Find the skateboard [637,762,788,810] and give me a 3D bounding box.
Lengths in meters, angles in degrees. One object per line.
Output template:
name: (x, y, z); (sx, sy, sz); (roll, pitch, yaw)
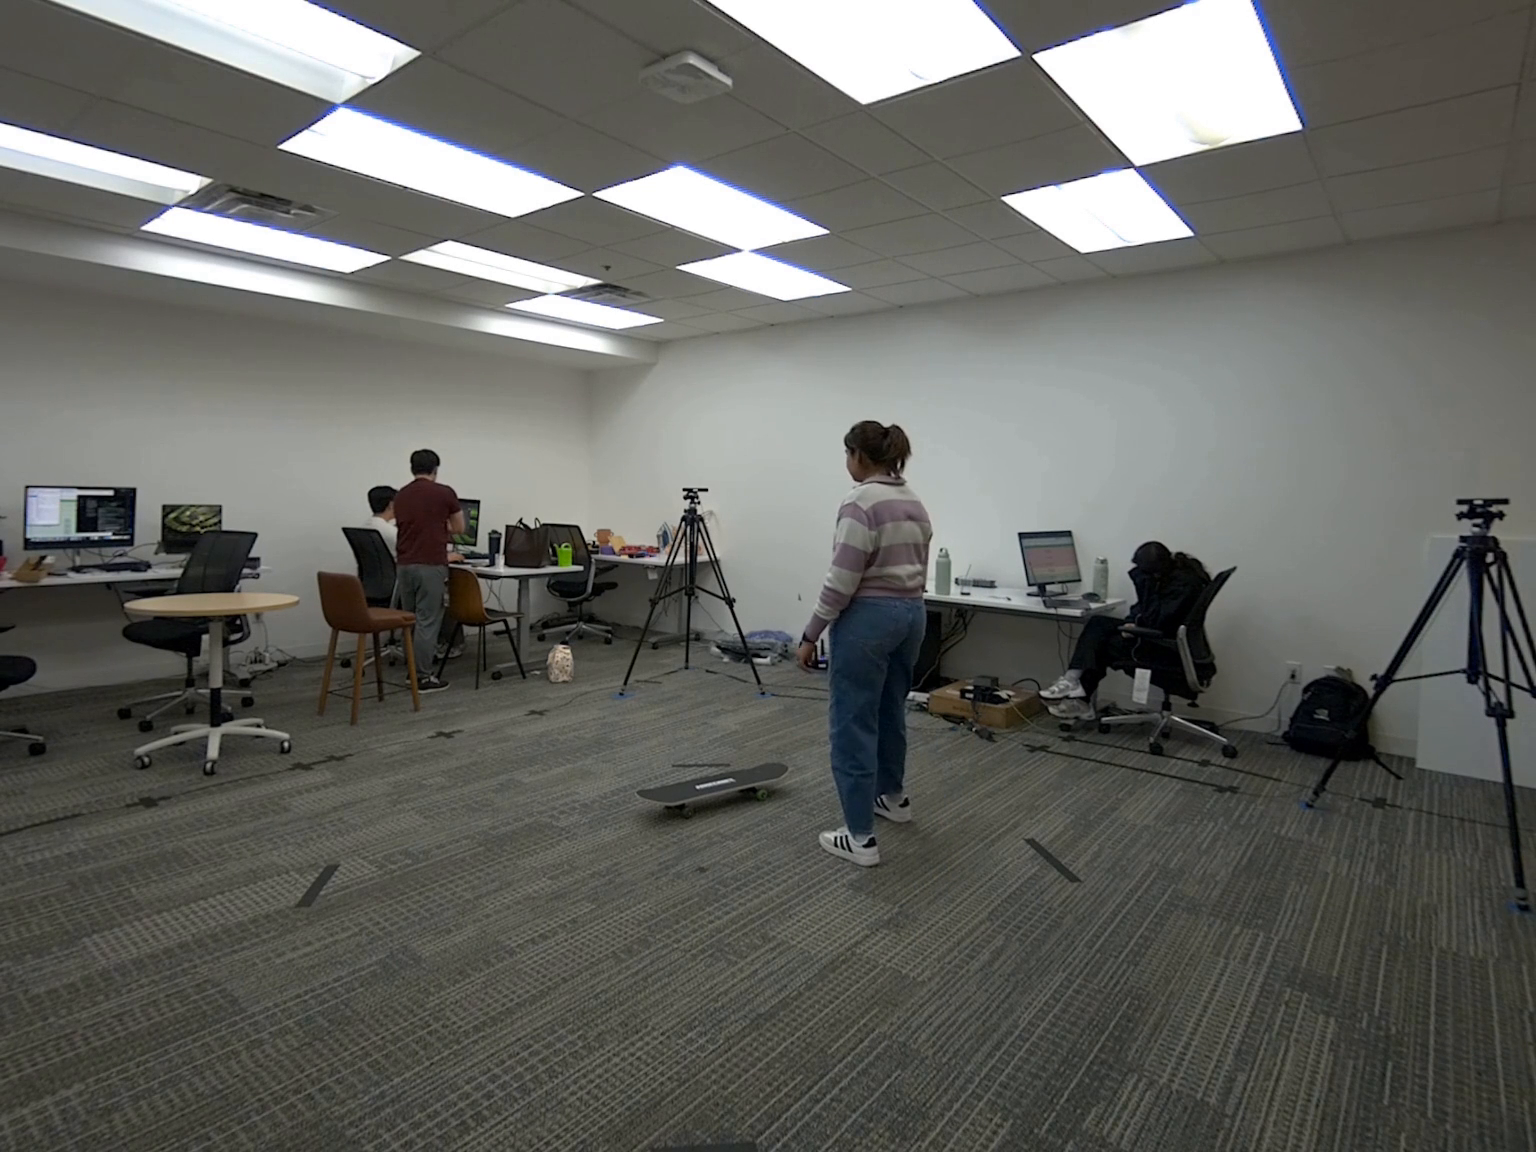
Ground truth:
skateboard: (-0.242, 0.945, 3.765); (0.763, 0.110, 0.200); (-3, 7, -35)
